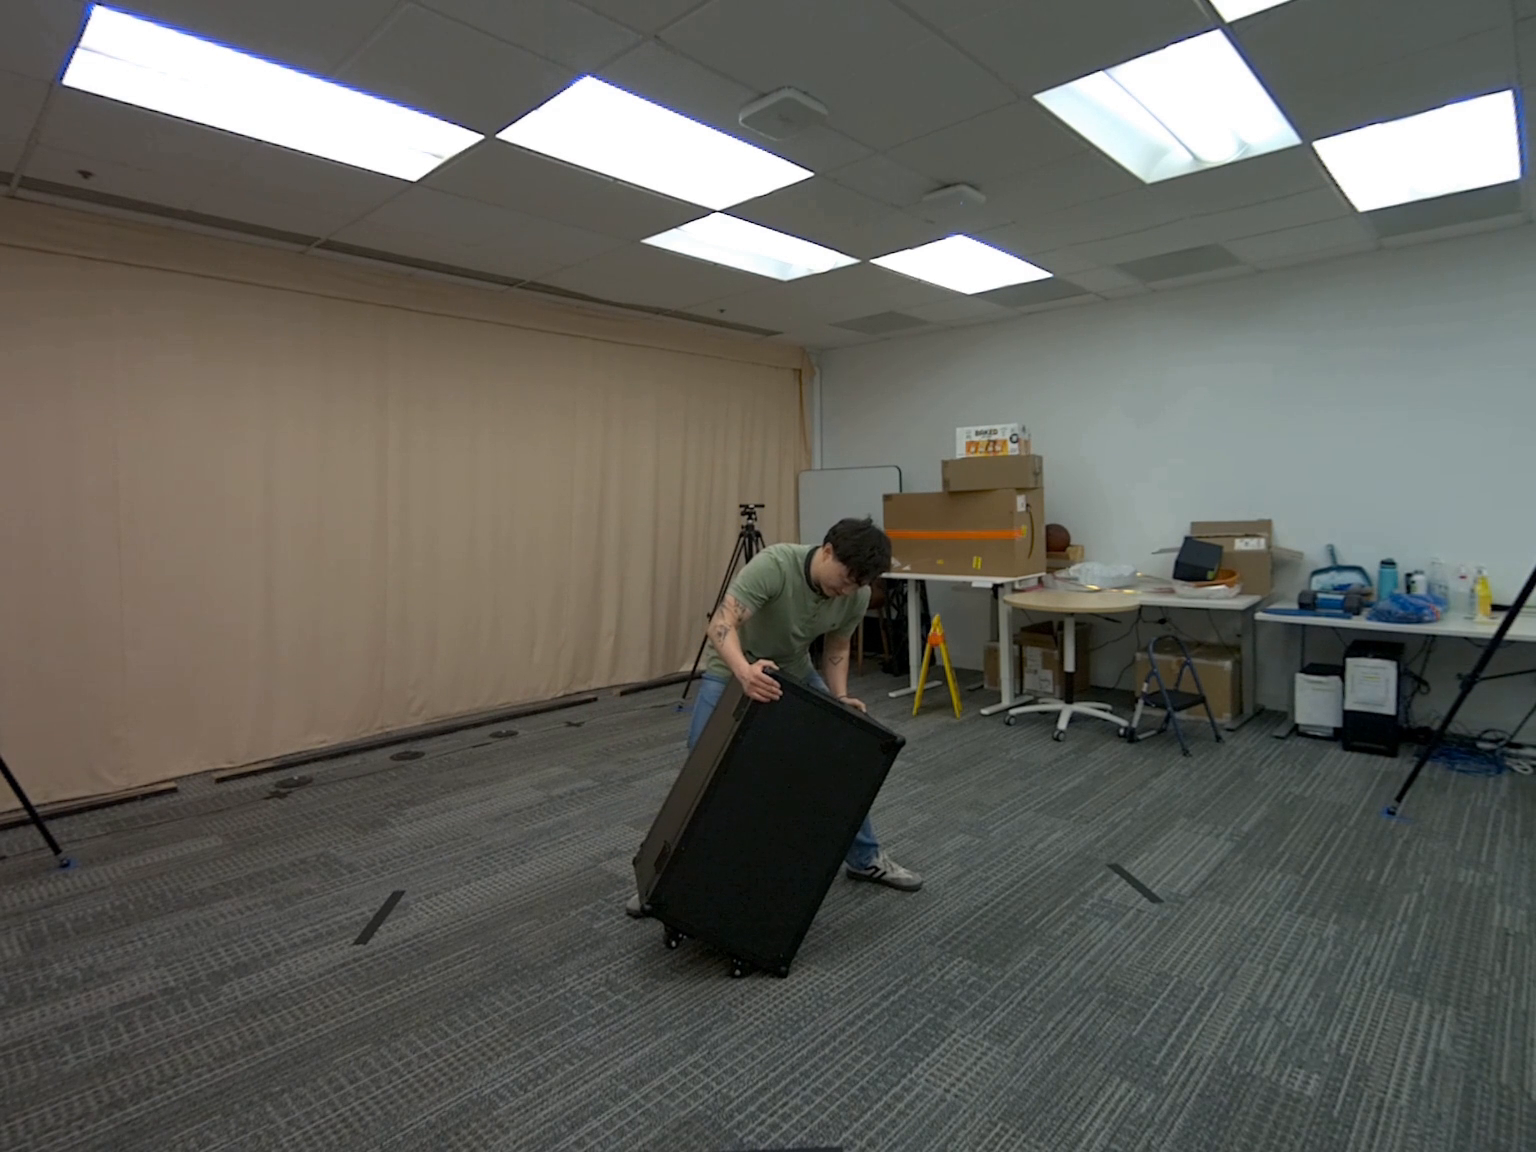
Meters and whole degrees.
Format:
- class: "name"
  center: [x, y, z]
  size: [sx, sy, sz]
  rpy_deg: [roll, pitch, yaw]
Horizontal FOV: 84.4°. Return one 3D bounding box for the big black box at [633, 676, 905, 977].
- class: "big black box"
  center: [-0.037, 0.742, 2.627]
  size: [0.515, 0.861, 0.401]
  rpy_deg: [29, -3, -11]
